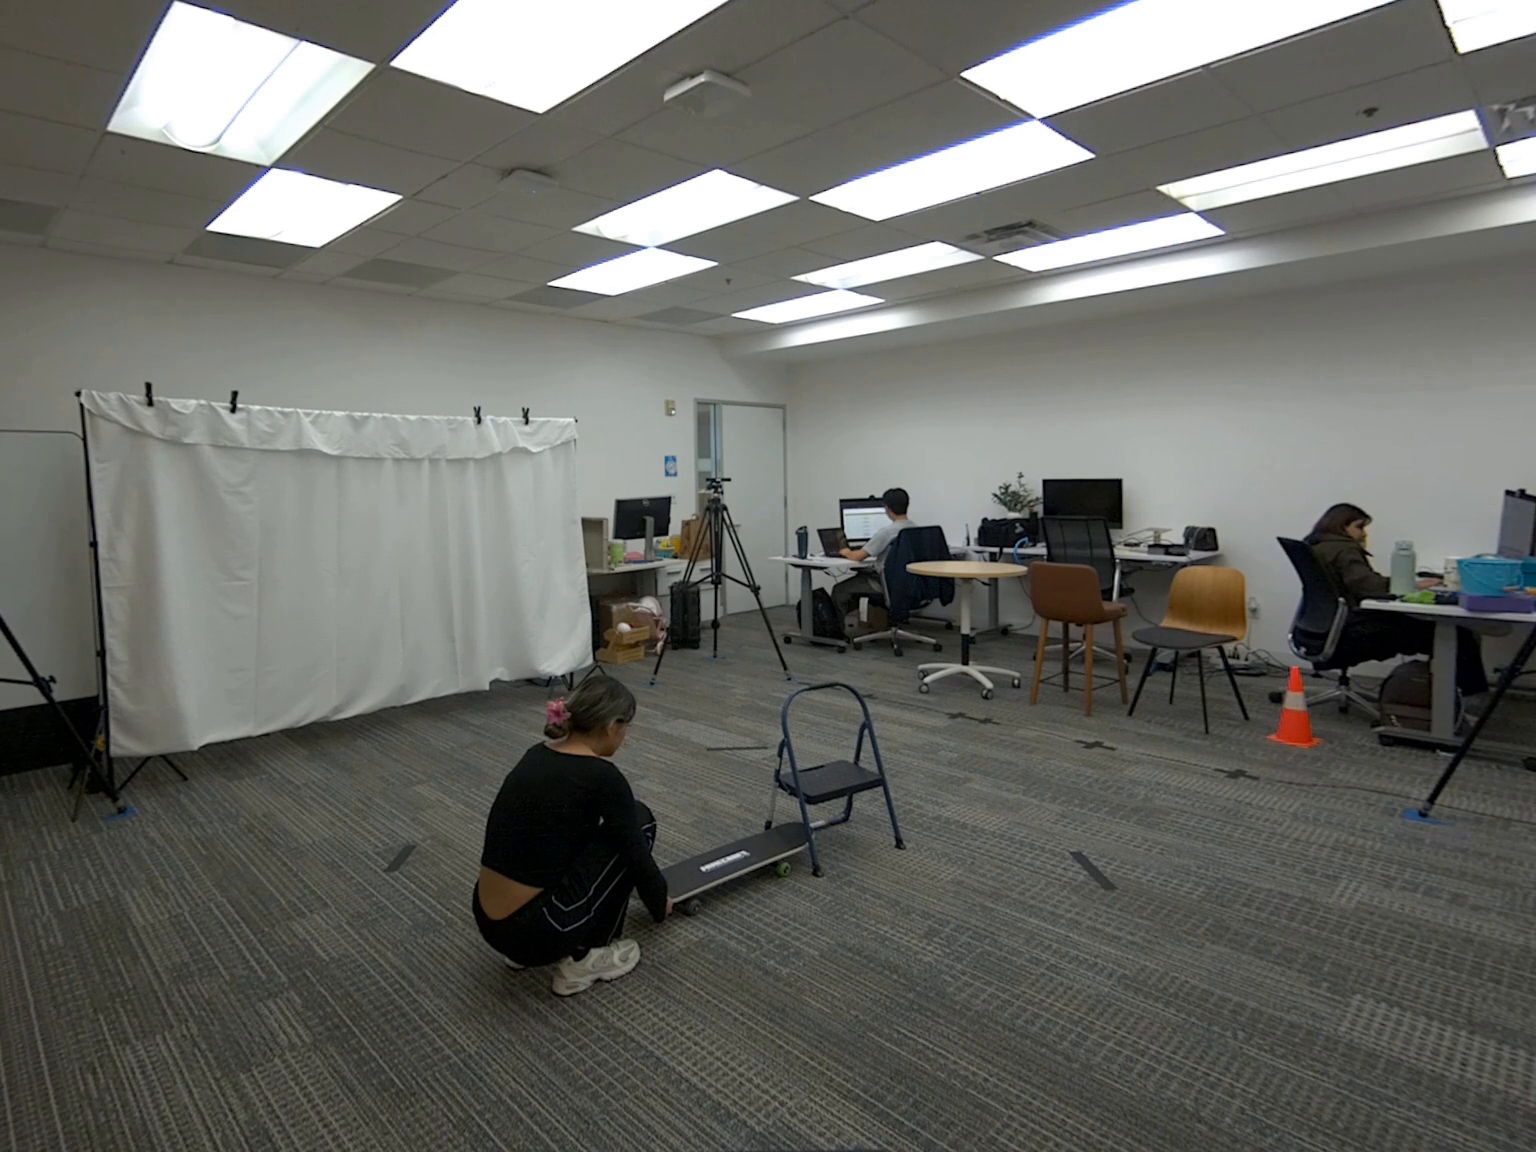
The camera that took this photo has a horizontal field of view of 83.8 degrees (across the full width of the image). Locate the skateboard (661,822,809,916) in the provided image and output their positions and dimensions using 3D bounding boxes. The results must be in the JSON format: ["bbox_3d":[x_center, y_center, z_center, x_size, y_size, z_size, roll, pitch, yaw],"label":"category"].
[{"bbox_3d":[-0.145,1.006,2.932,0.765,0.110,0.199,-7,8,-40],"label":"skateboard"}]
